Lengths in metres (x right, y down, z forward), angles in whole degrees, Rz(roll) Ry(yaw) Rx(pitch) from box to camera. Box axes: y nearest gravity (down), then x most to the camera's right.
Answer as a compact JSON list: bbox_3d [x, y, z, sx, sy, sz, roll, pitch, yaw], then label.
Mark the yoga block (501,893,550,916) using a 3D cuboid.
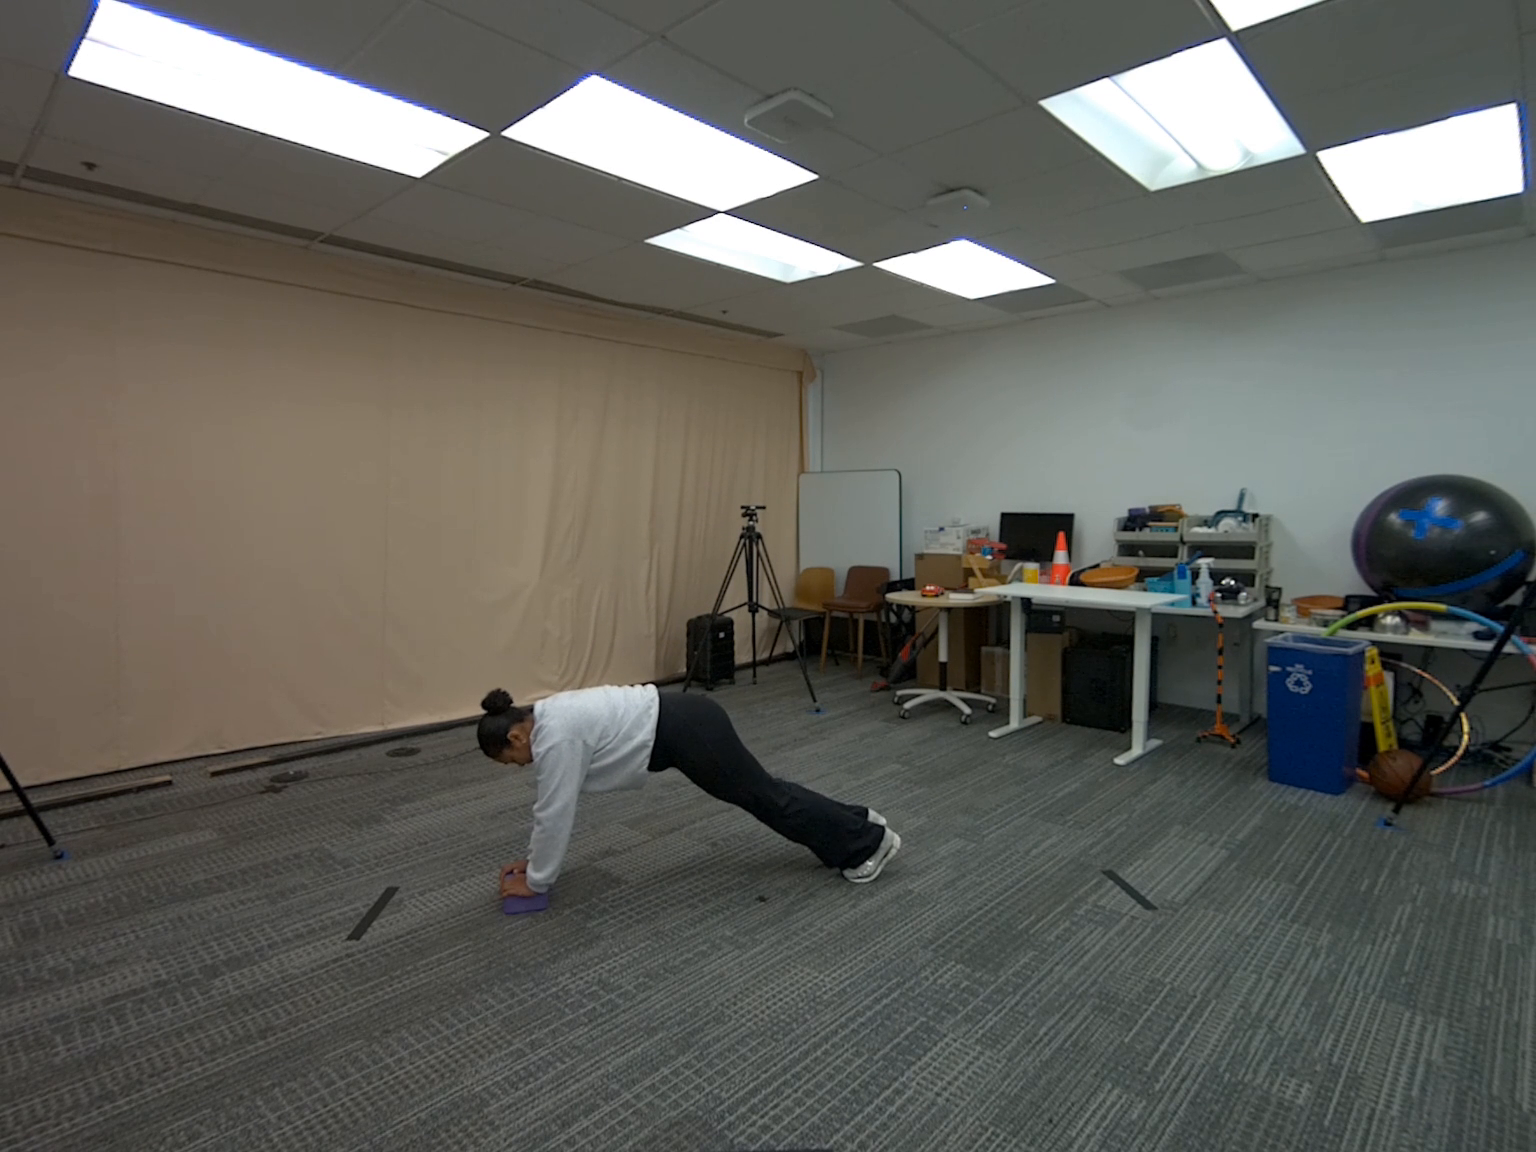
[{"bbox_3d":[-0.865,1.119,2.998,0.146,0.076,0.233,0,4,-16],"label":"yoga block"}]
